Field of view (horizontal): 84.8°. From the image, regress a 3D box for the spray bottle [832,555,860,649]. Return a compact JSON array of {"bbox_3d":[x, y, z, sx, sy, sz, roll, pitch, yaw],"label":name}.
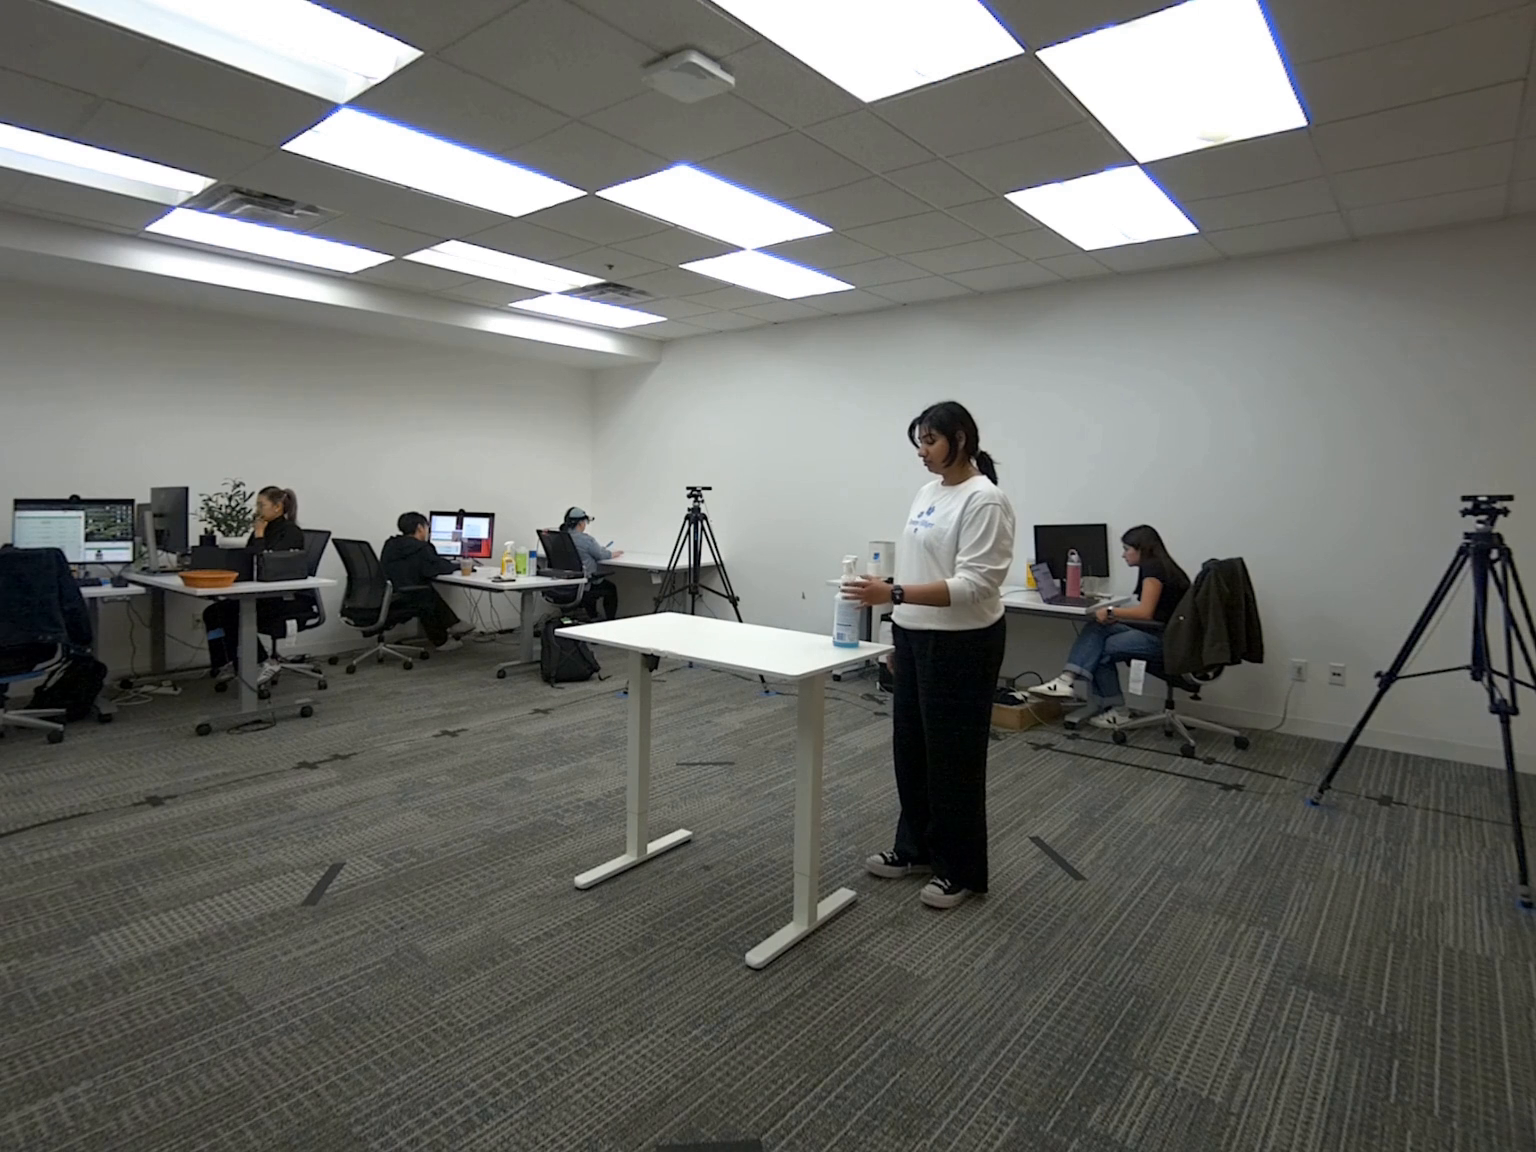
[{"bbox_3d":[0.261,0.081,2.778,0.088,0.296,0.089,2,3,6],"label":"spray bottle"}]
